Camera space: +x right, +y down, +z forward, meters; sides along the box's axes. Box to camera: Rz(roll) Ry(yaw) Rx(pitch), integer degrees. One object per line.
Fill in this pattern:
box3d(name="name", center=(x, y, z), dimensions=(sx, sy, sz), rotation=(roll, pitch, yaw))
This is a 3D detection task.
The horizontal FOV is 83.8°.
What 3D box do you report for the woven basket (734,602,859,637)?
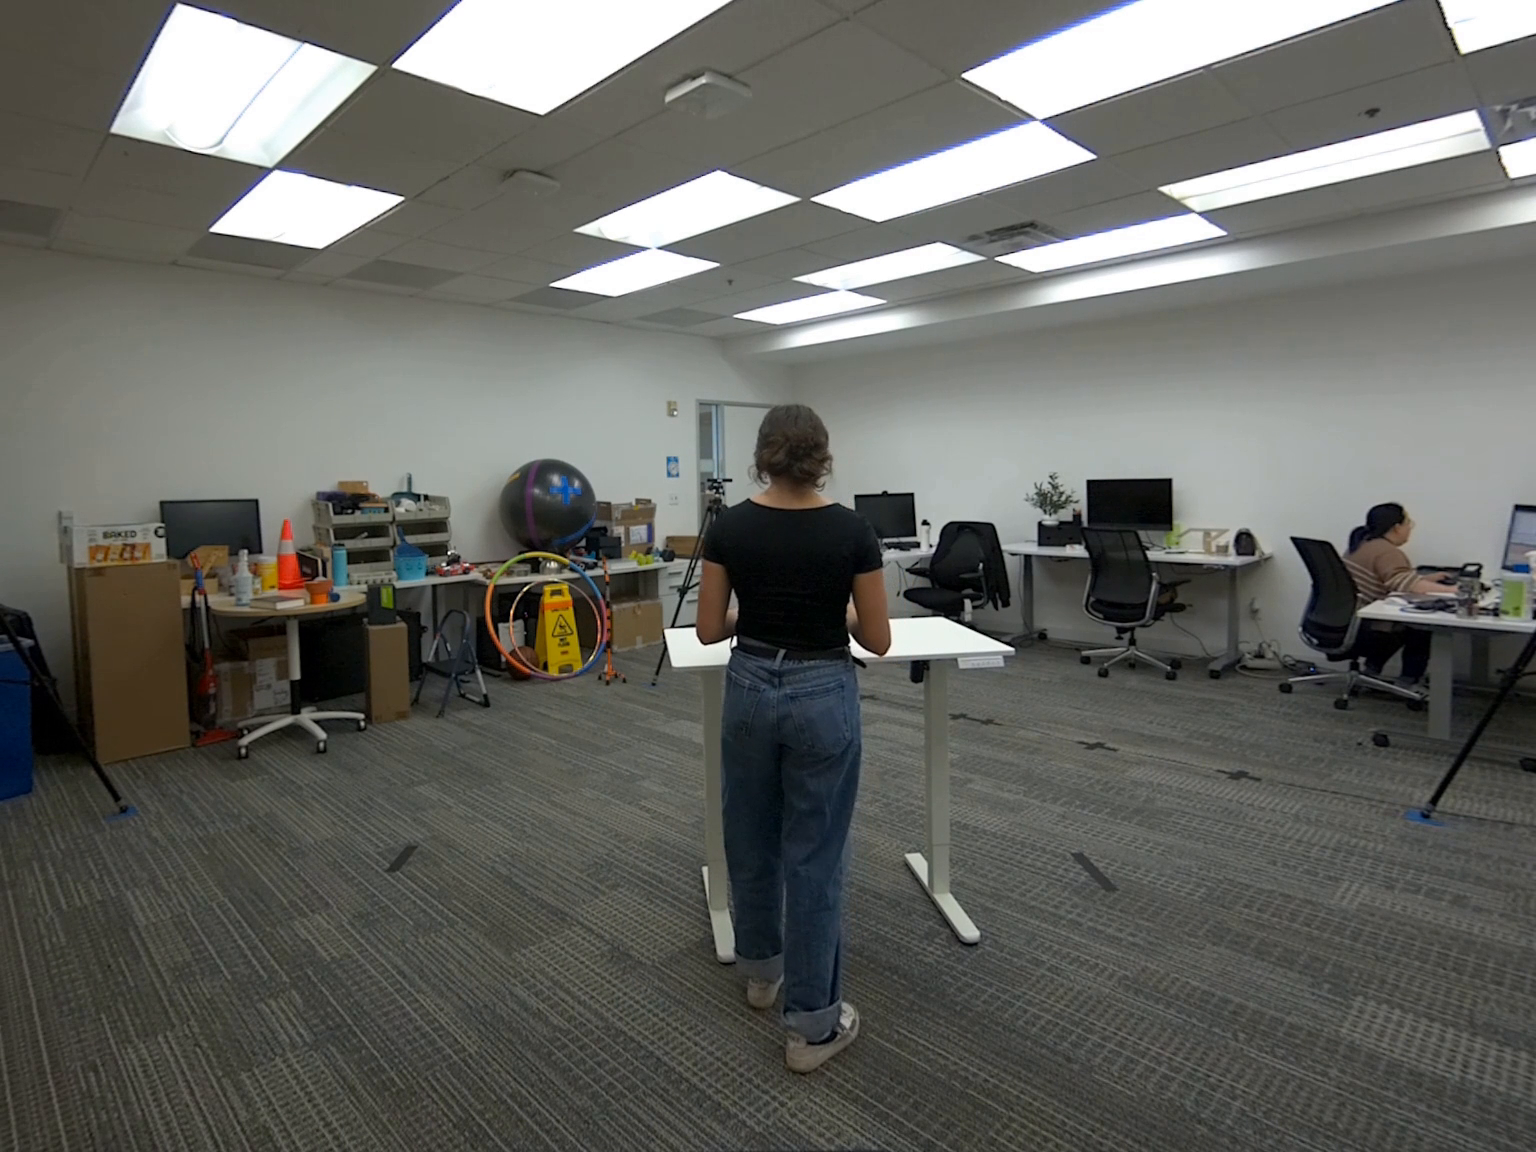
box3d(name="woven basket", center=(0.098, 0.104, 2.427), dimensions=(0.258, 0.072, 0.347), rotation=(2, 13, 21))
